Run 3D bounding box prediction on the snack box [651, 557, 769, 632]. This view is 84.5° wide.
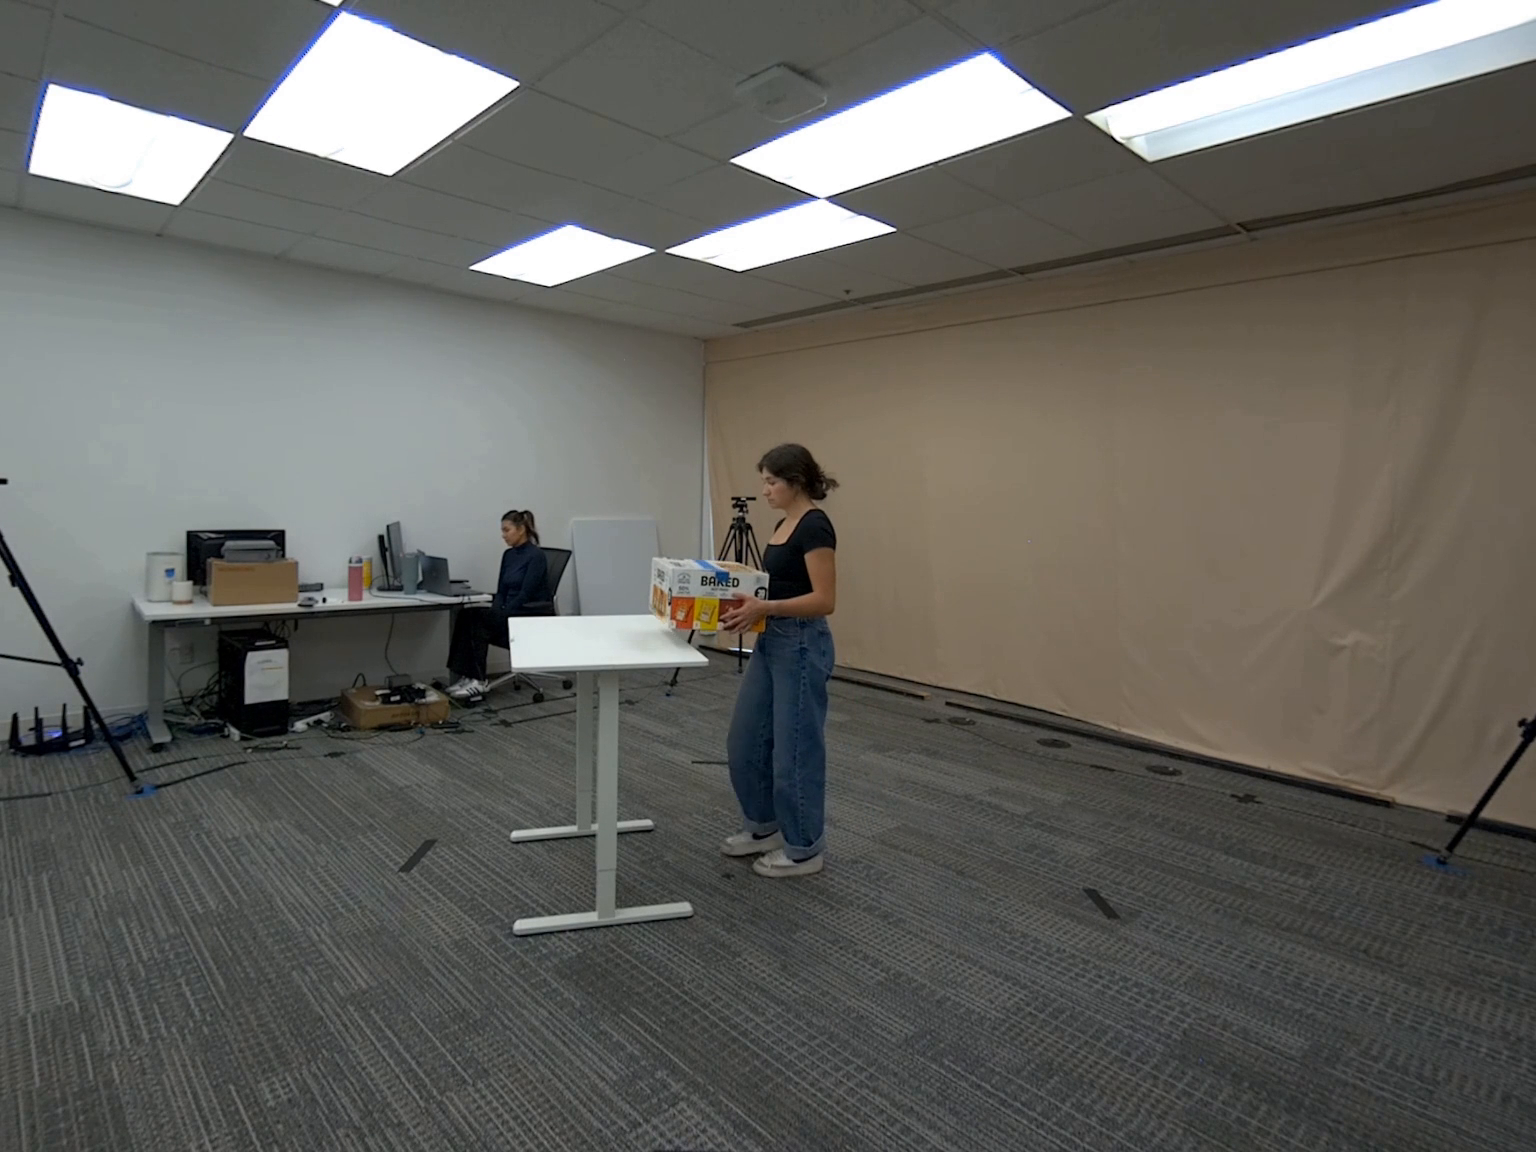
[{"bbox_3d":[-0.229,0.063,3.051,0.336,0.205,0.411,4,5,-17],"label":"snack box"}]
